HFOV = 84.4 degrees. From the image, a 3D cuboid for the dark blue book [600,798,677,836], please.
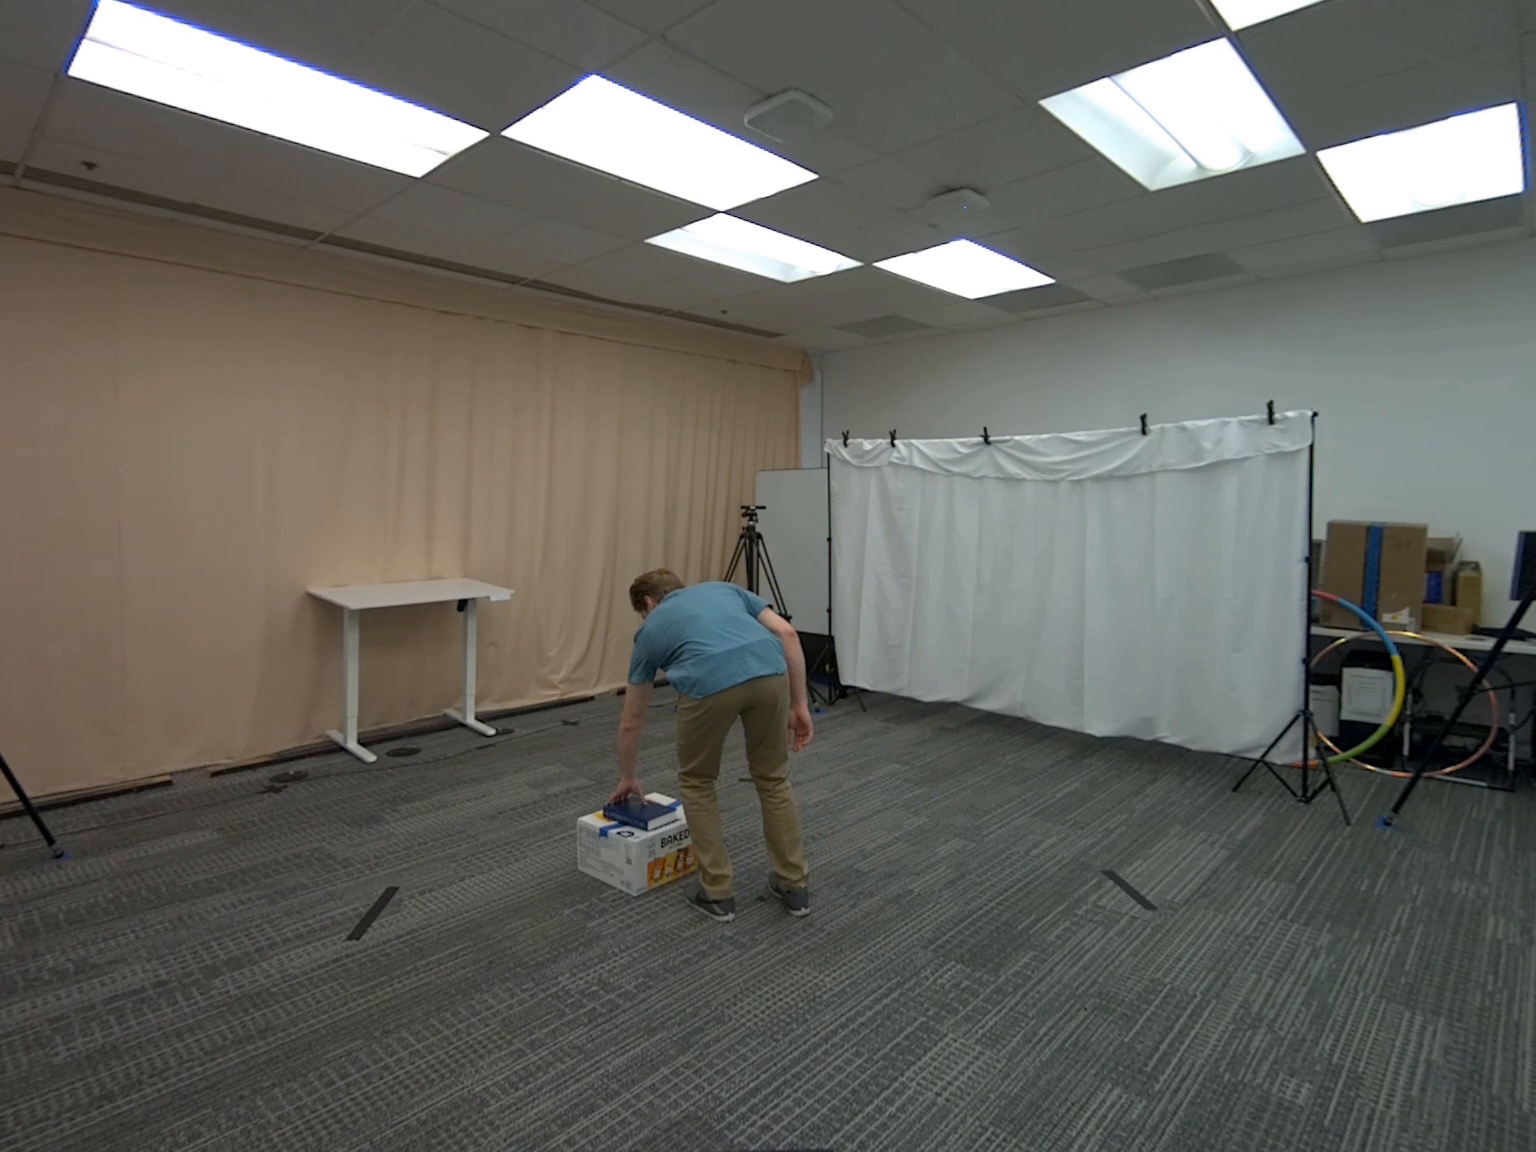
[{"bbox_3d":[-0.495,0.914,3.226,0.253,0.045,0.158,2,4,39],"label":"dark blue book"}]
